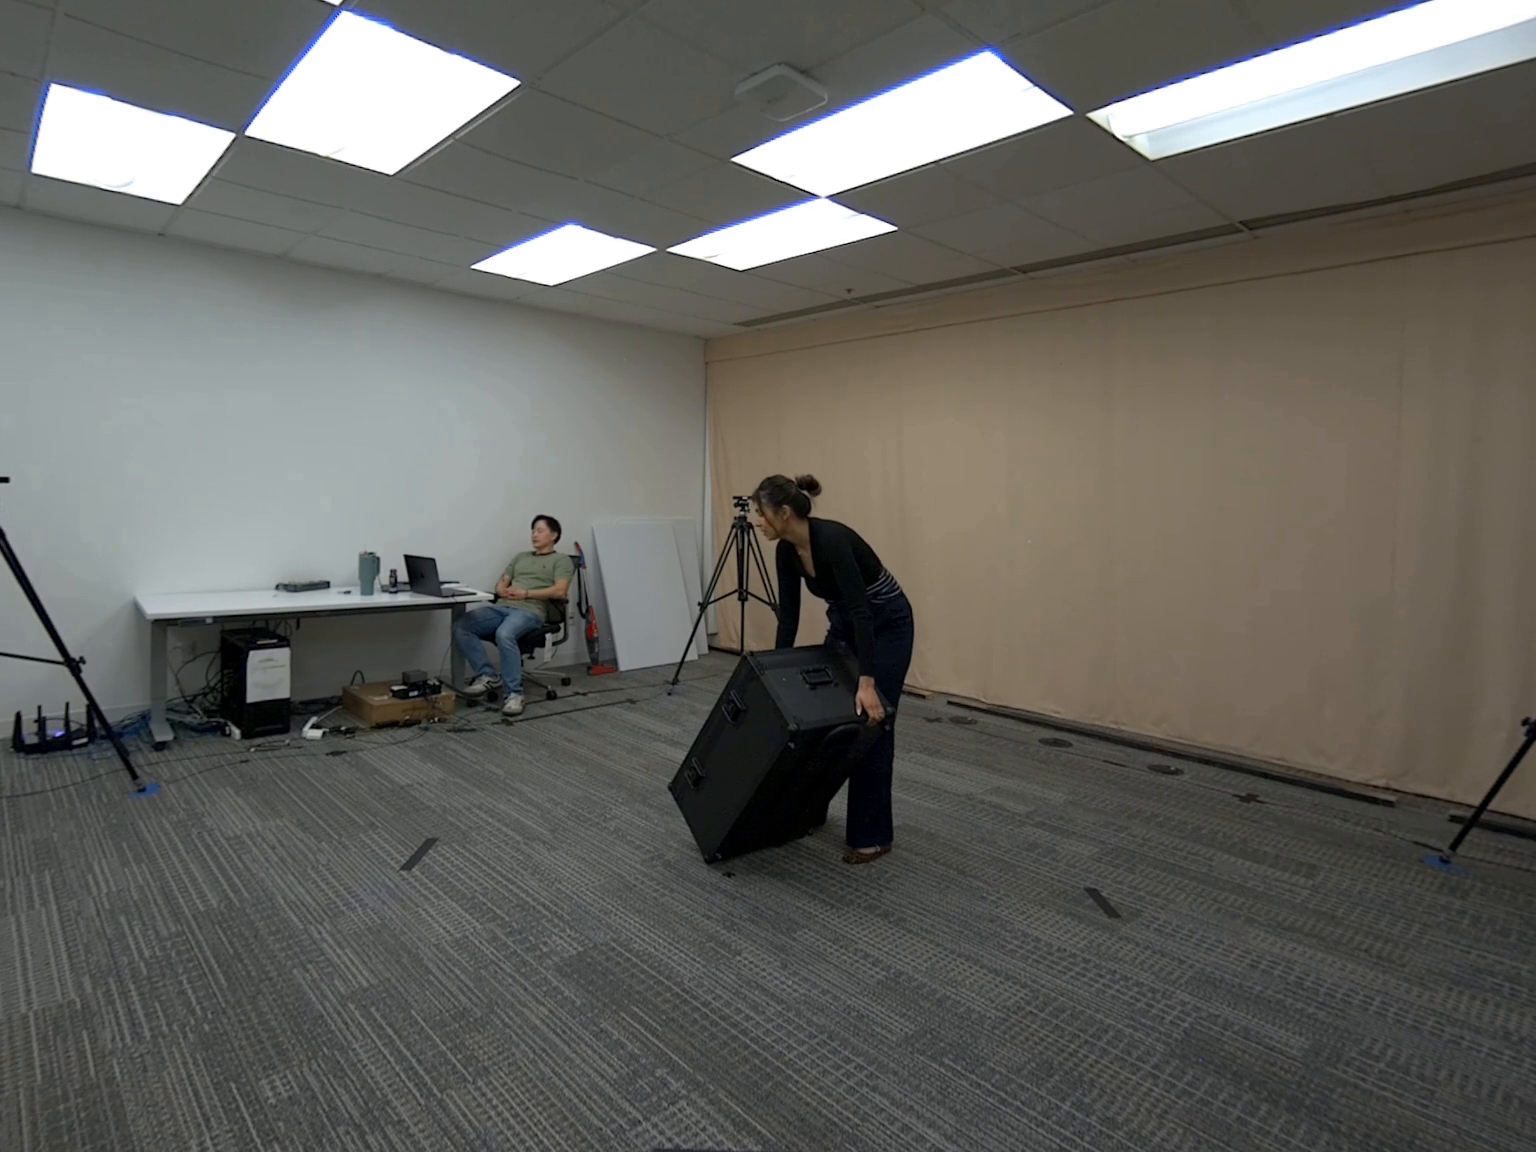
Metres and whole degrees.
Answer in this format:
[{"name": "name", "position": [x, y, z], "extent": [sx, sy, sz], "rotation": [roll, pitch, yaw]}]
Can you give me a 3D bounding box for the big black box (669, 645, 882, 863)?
[{"name": "big black box", "position": [0.034, 0.649, 3.137], "extent": [0.509, 0.854, 0.408], "rotation": [-1, 42, -37]}]
